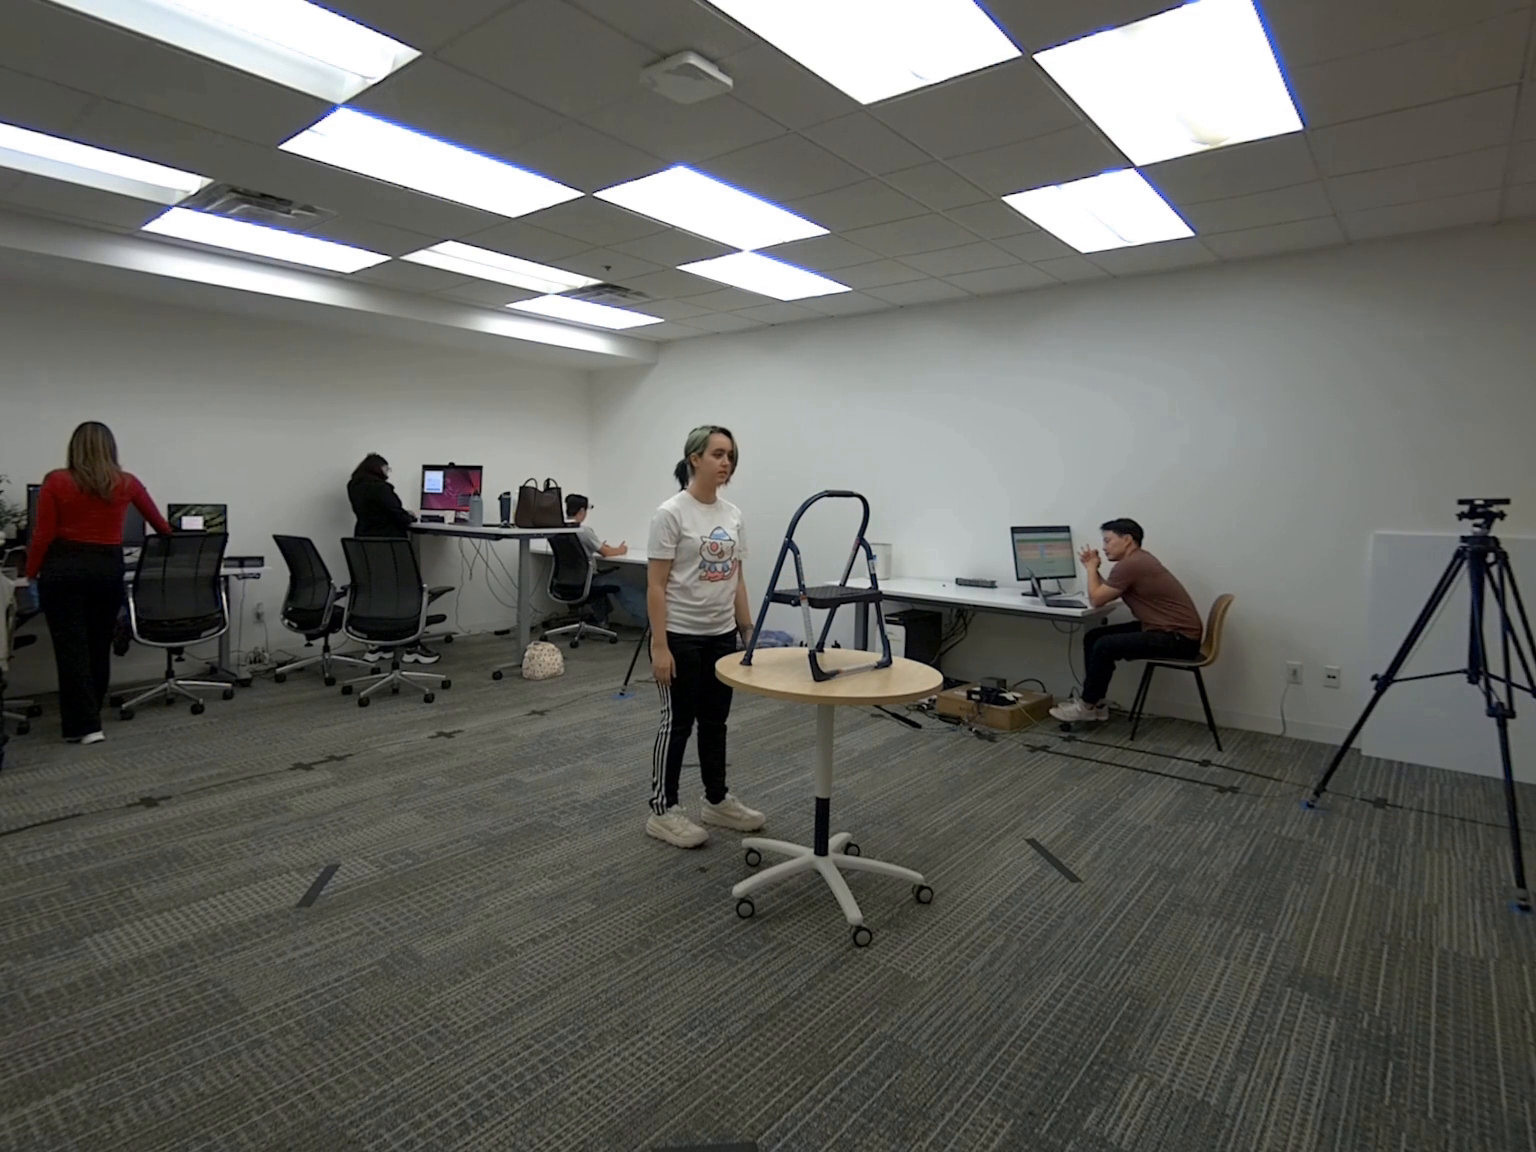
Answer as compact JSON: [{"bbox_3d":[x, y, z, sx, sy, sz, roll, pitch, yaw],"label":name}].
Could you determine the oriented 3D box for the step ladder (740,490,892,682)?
[{"bbox_3d":[0.178,0.008,2.938,0.361,0.604,0.417,5,5,44],"label":"step ladder"}]
